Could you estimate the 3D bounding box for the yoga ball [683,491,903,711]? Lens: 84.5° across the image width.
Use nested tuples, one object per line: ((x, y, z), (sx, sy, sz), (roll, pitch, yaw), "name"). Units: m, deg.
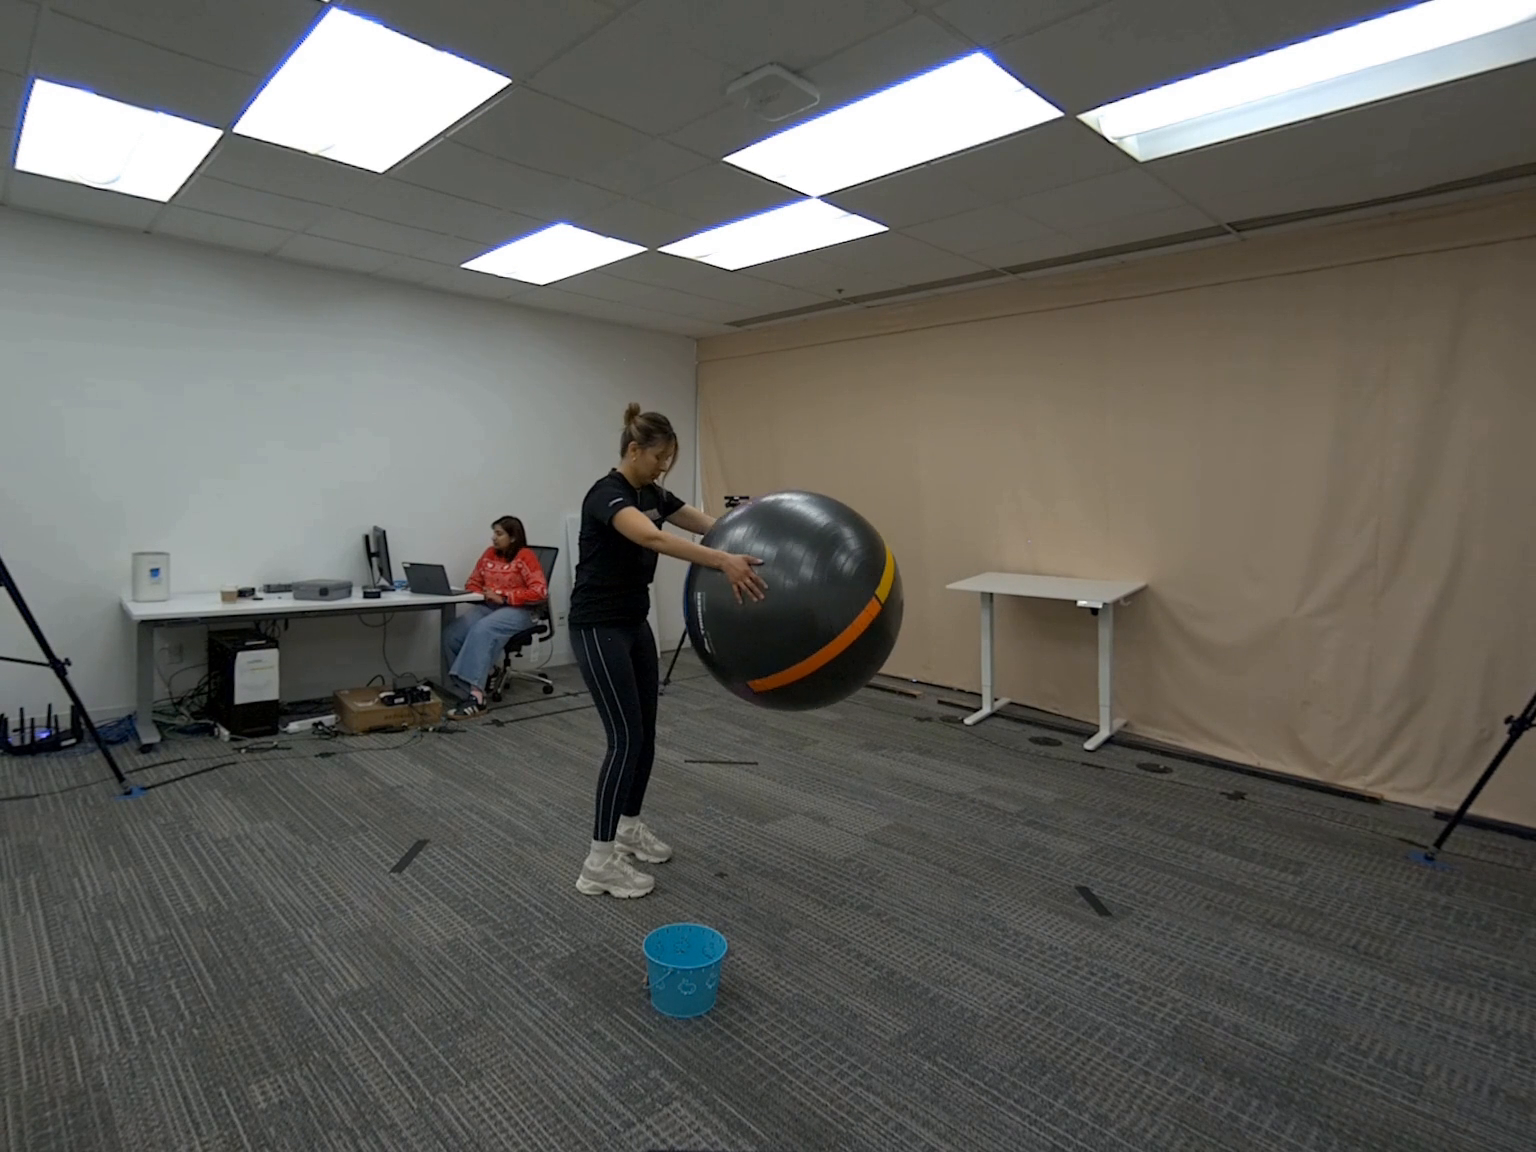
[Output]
((0.077, 0.098, 2.909), (0.757, 0.756, 0.761), (1, 4, -1), "yoga ball")
